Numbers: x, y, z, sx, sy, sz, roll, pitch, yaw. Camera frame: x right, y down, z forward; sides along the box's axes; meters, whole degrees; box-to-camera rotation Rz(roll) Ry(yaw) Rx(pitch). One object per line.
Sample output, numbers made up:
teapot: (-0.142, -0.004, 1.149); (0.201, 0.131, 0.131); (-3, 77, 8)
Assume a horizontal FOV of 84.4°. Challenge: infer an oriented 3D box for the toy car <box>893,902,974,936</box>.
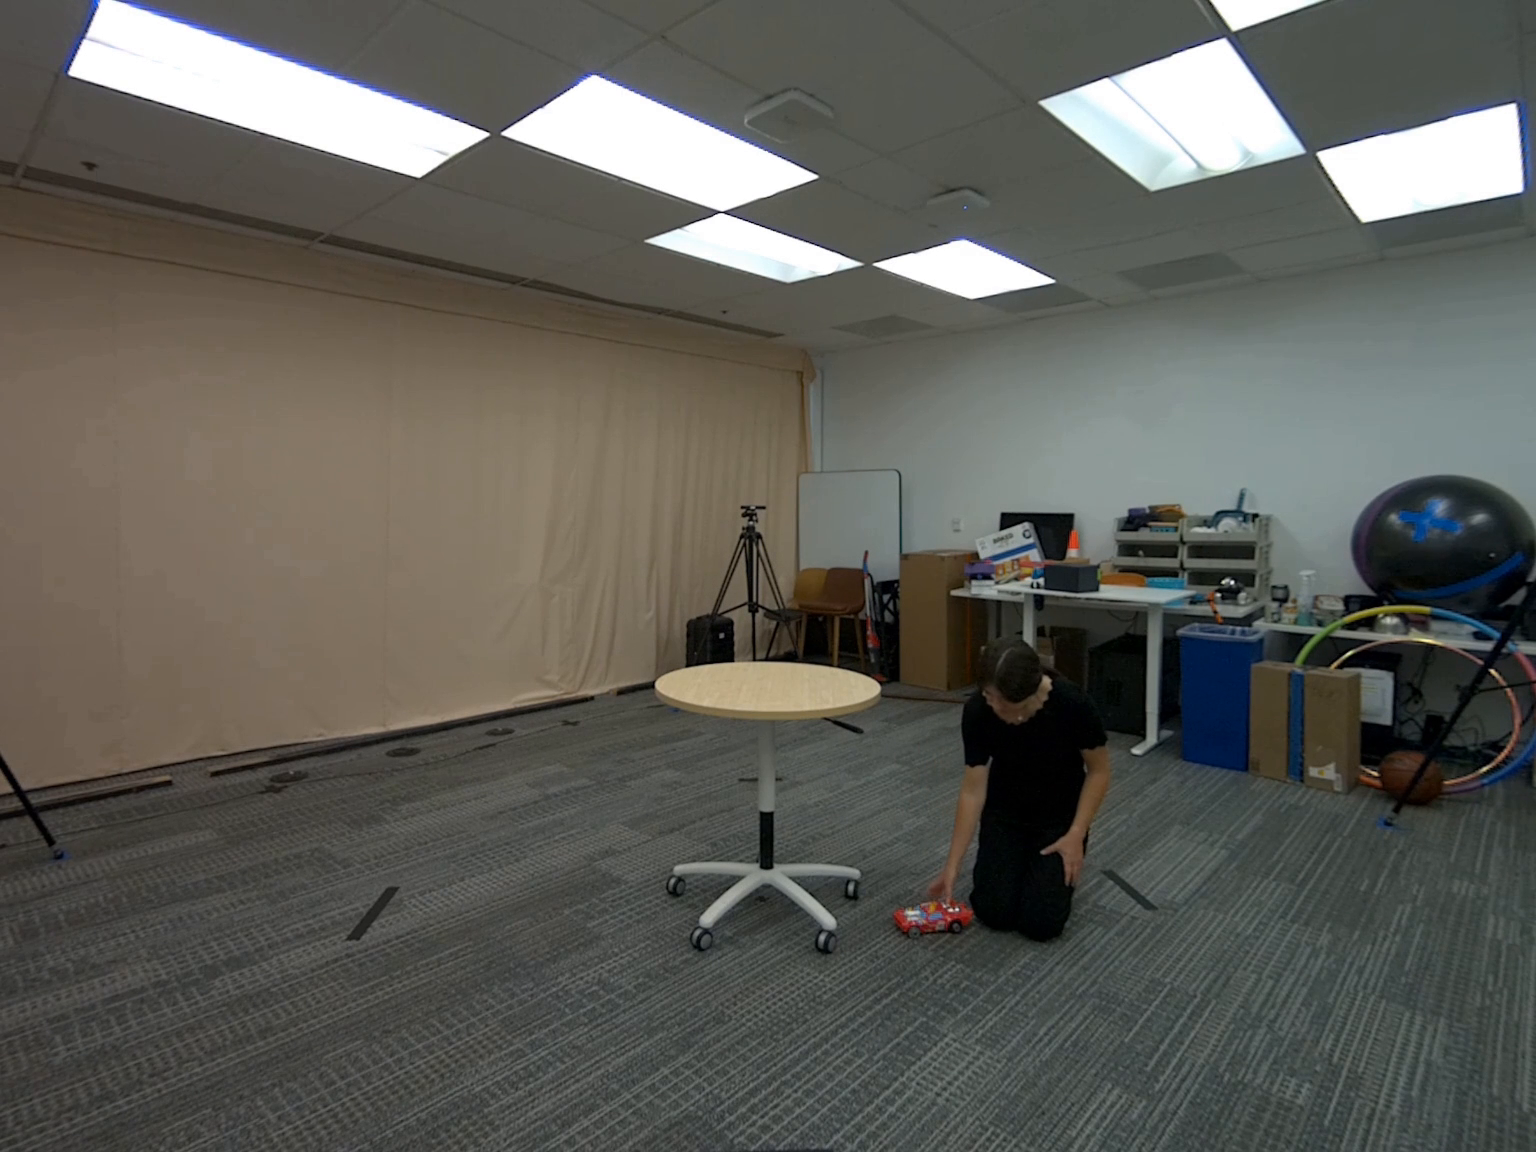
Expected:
toy car: (0.555, 1.134, 2.768); (0.252, 0.083, 0.132); (-12, 6, -11)
